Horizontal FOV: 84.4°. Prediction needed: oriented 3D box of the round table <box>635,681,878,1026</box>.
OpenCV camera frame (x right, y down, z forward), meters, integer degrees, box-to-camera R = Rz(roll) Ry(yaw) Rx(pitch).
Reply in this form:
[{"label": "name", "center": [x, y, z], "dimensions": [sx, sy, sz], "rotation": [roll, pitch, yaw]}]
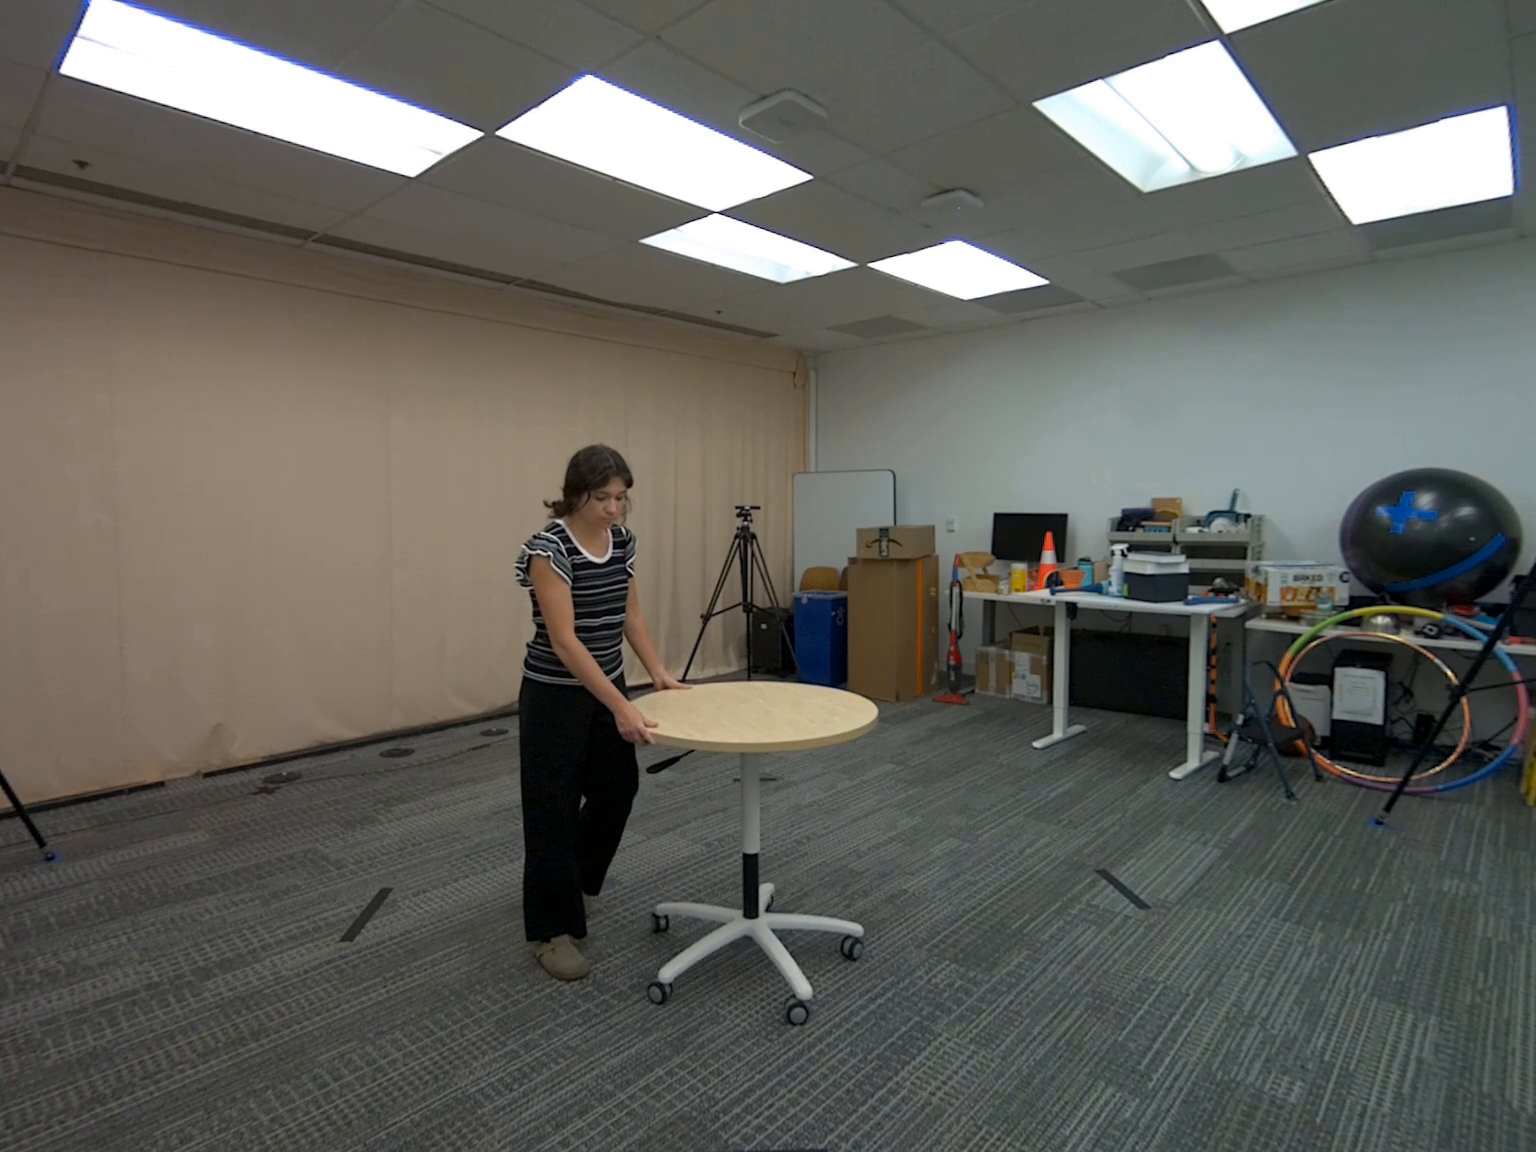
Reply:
[{"label": "round table", "center": [-0.047, 0.794, 2.562], "dimensions": [0.763, 0.792, 0.767], "rotation": [-1, 4, -2]}]
